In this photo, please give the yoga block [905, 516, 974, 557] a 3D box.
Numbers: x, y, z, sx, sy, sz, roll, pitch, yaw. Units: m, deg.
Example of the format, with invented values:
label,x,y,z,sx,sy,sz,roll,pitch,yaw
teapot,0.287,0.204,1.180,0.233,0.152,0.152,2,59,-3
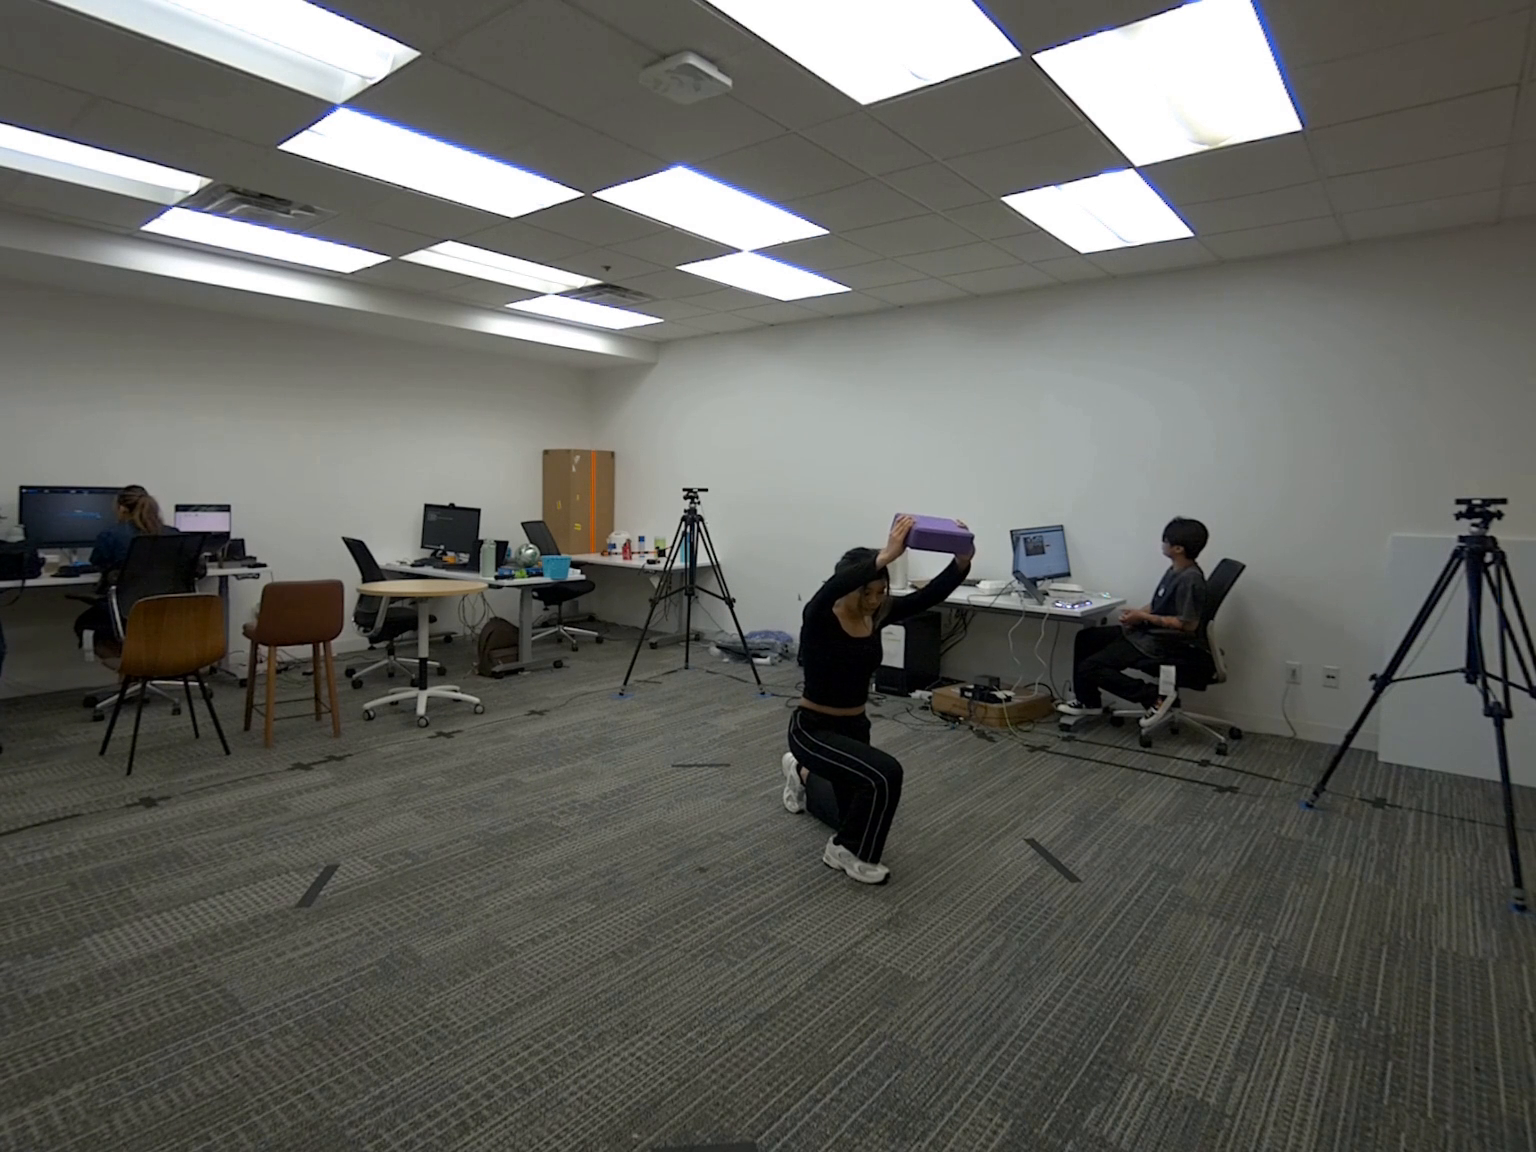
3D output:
label,x,y,z,sx,sy,sz,roll,pitch,yaw
yoga block,0.534,-0.144,2.793,0.224,0.075,0.154,5,21,-20
